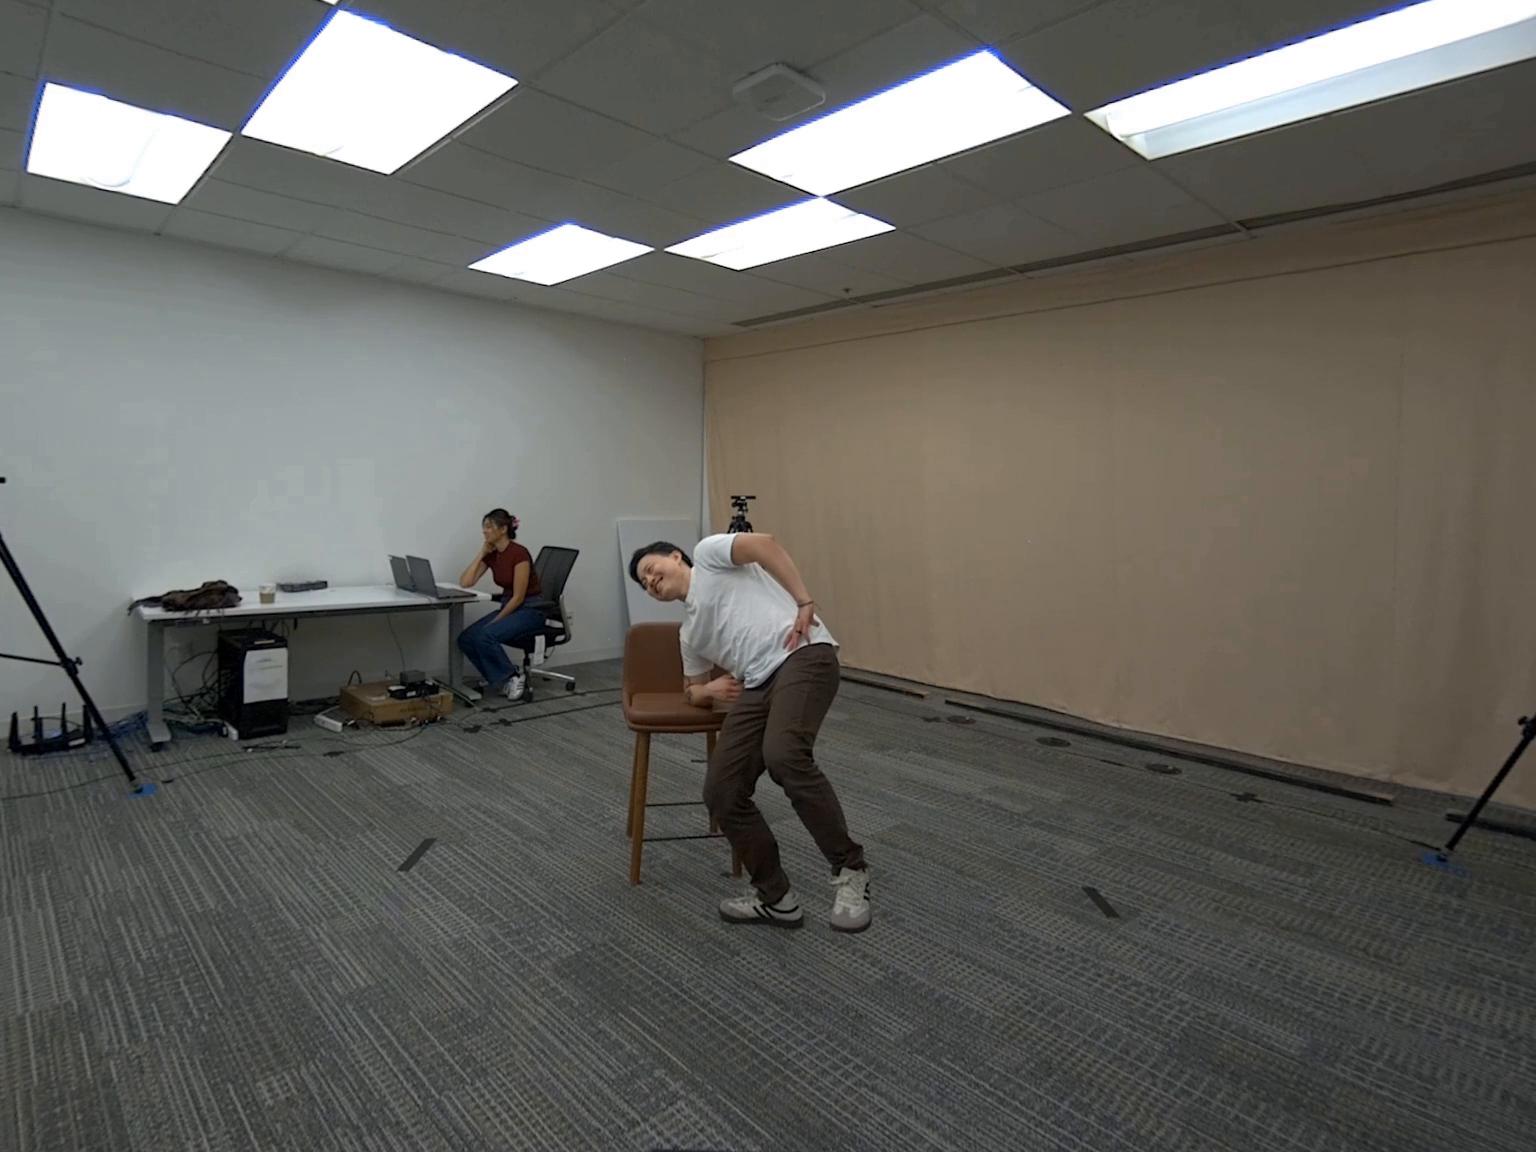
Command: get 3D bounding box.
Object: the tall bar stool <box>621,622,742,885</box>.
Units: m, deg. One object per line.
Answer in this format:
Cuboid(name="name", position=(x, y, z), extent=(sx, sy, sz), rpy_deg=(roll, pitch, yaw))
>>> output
Cuboid(name="tall bar stool", position=(-0.344, 0.651, 3.246), extent=(0.452, 0.888, 0.473), rpy_deg=(1, 2, -13))
